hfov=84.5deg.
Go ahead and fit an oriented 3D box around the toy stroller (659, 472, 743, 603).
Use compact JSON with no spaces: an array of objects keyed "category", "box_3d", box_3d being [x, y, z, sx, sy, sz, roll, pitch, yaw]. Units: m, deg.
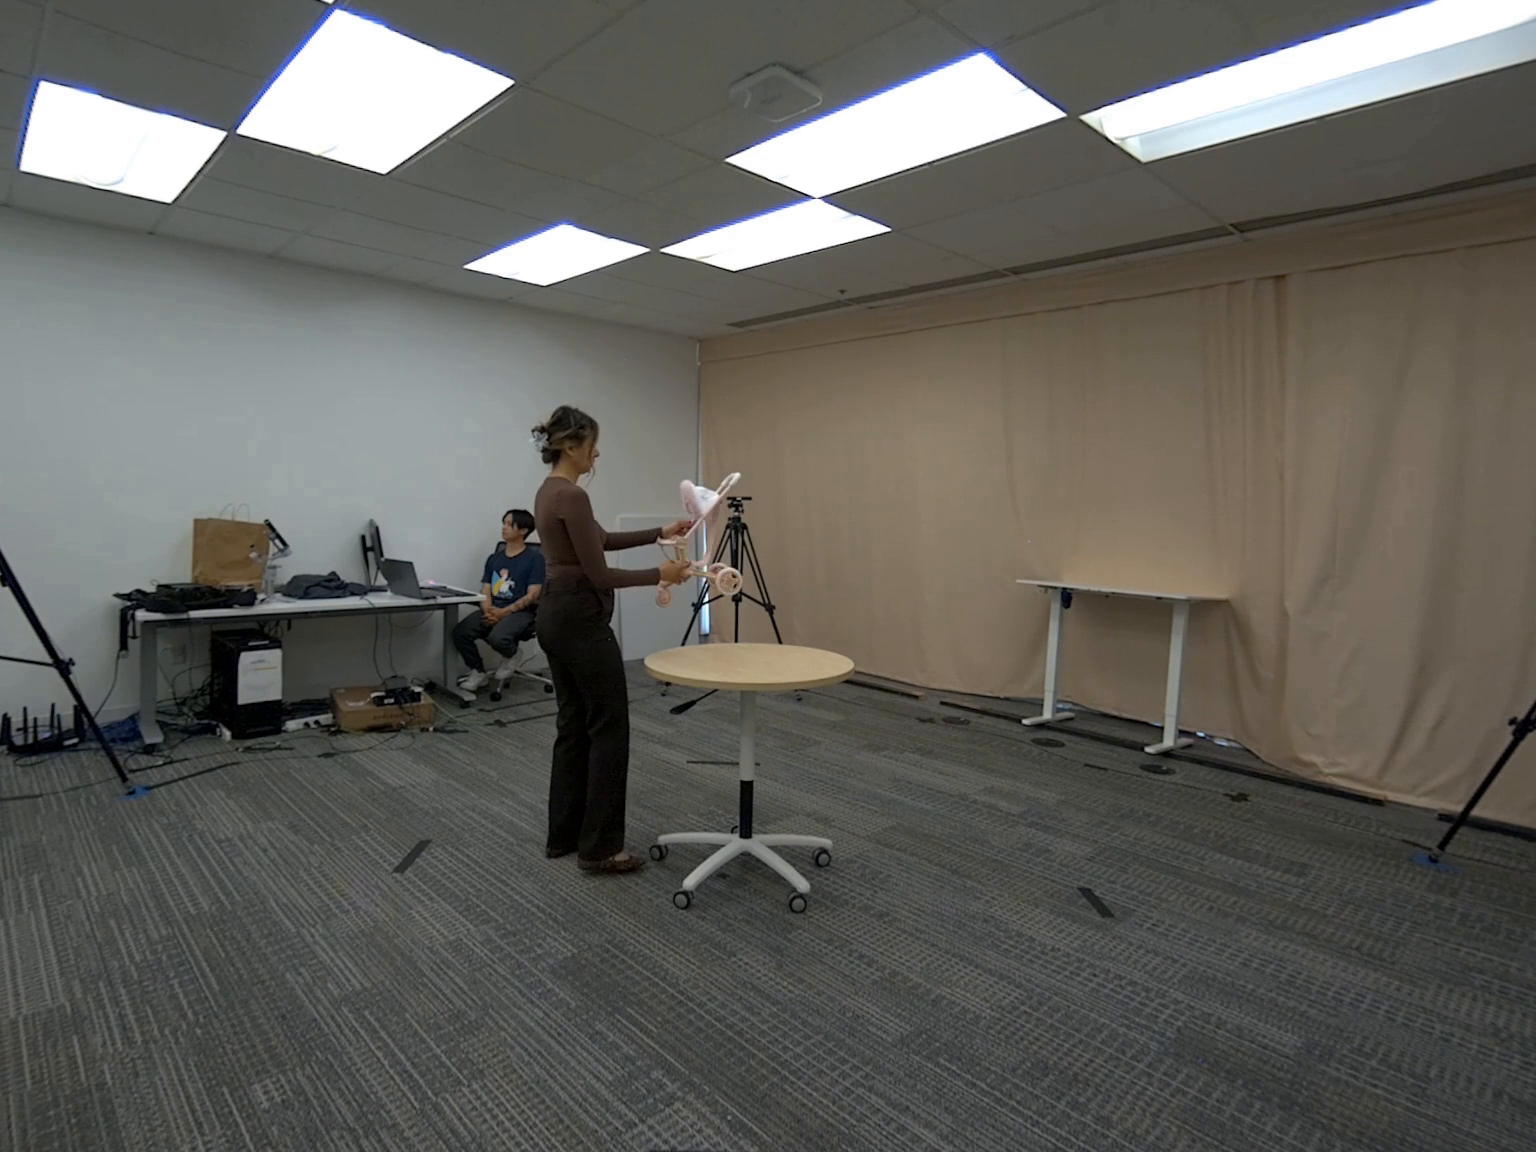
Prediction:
[{"category":"toy stroller","box_3d":[-0.299,-0.145,3.378,0.339,0.533,0.284,0,5,-7]}]
